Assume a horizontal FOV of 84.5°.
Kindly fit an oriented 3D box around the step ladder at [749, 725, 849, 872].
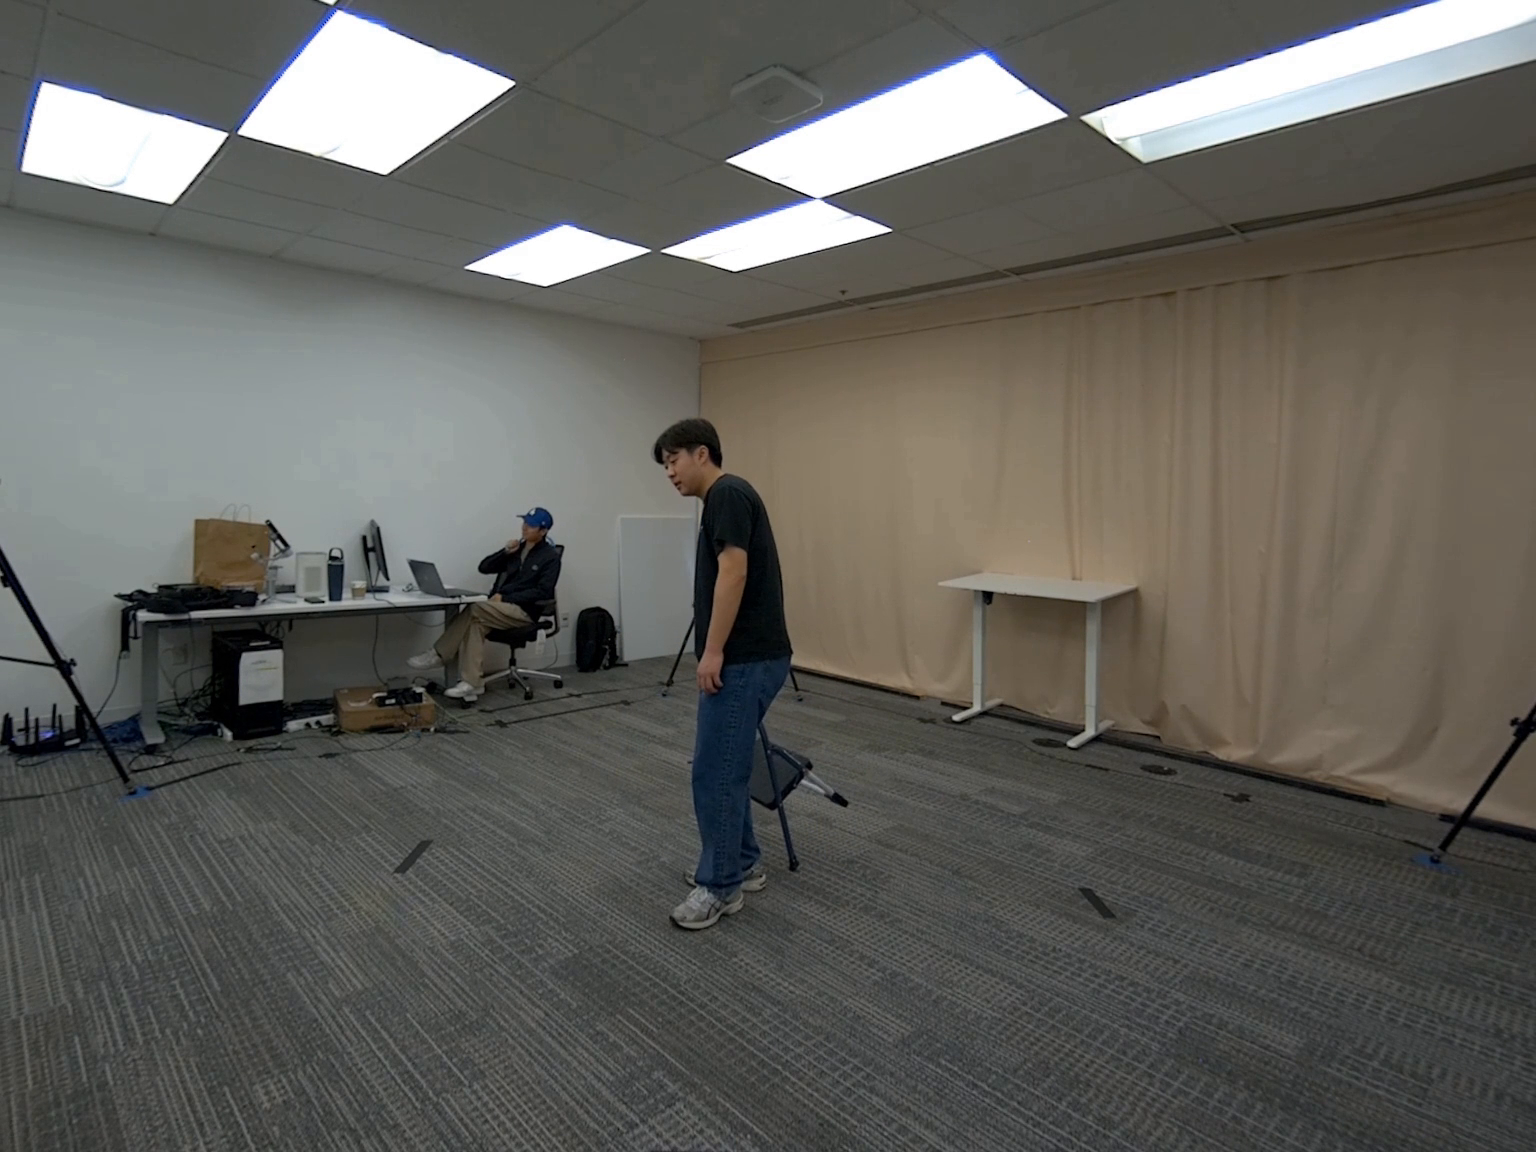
[{"bbox_3d":[-0.054,0.746,3.292,0.348,0.593,0.441,-41,24,-25],"label":"step ladder"}]
